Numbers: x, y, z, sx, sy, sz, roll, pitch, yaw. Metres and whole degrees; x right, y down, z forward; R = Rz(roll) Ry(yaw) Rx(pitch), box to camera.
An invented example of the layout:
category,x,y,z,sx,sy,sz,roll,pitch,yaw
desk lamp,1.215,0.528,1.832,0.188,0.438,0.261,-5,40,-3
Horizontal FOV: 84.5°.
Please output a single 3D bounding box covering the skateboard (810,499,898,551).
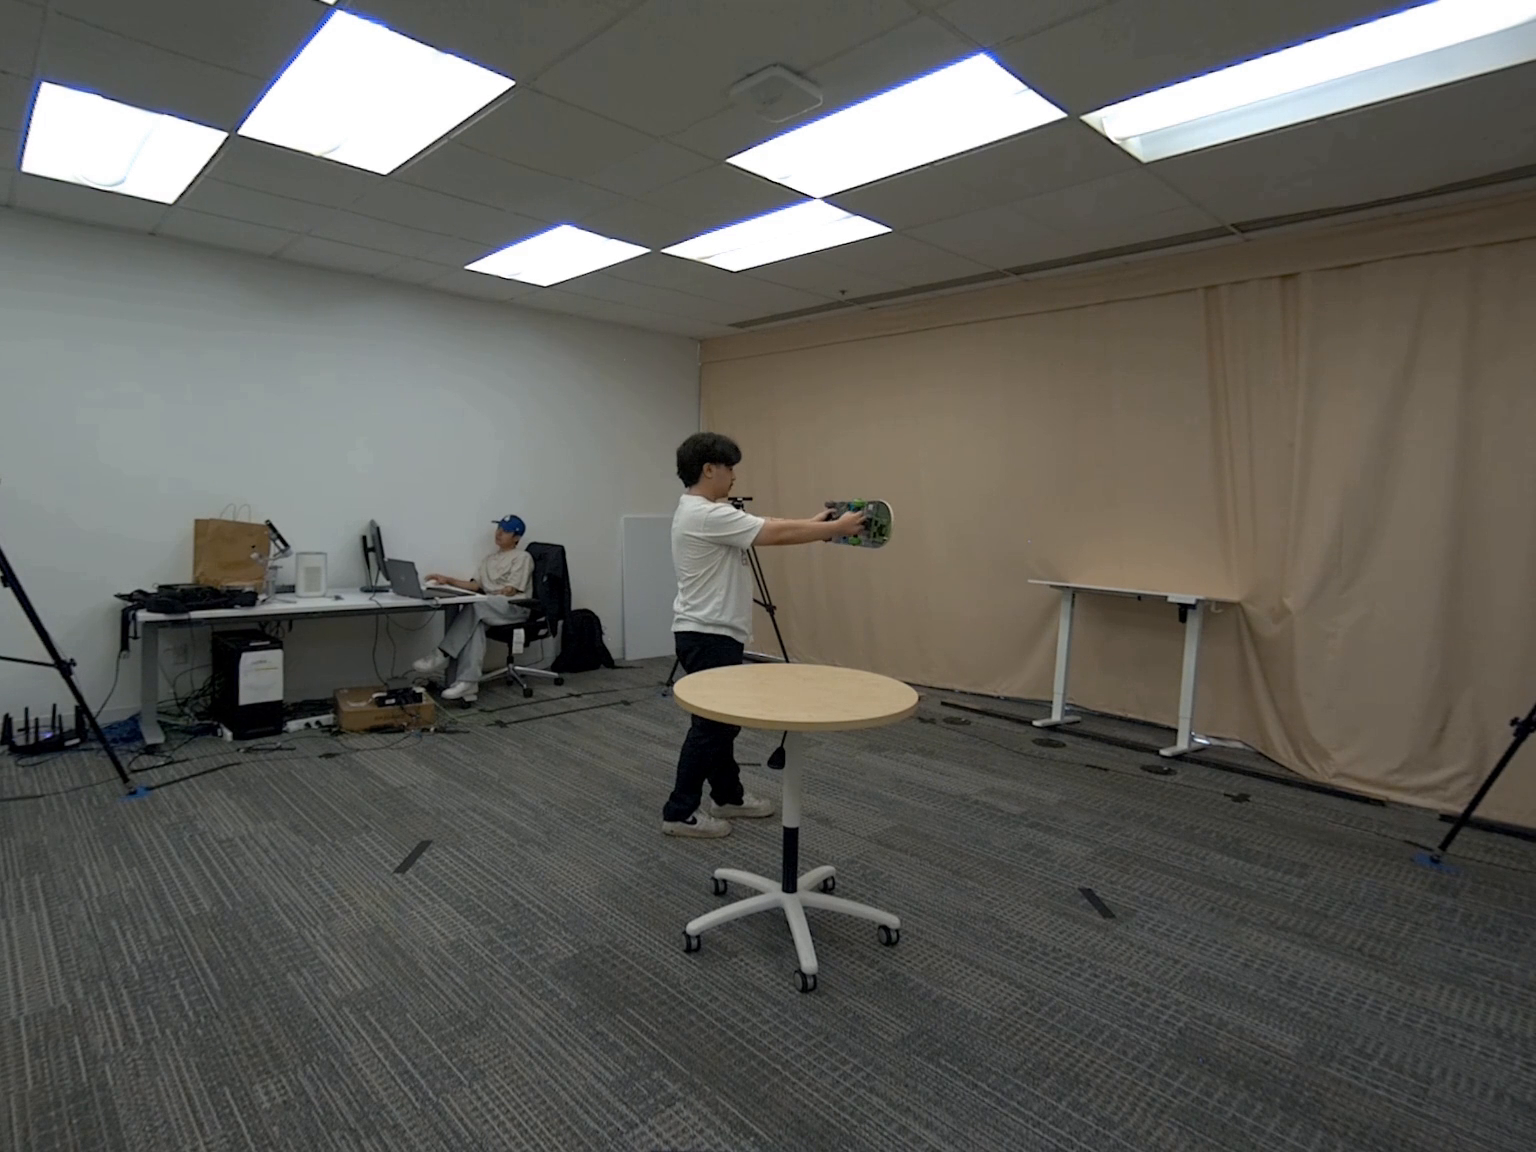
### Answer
category,x,y,z,sx,sy,sz,roll,pitch,yaw
skateboard,0.347,-0.226,3.625,0.109,0.193,0.795,-2,4,-13
